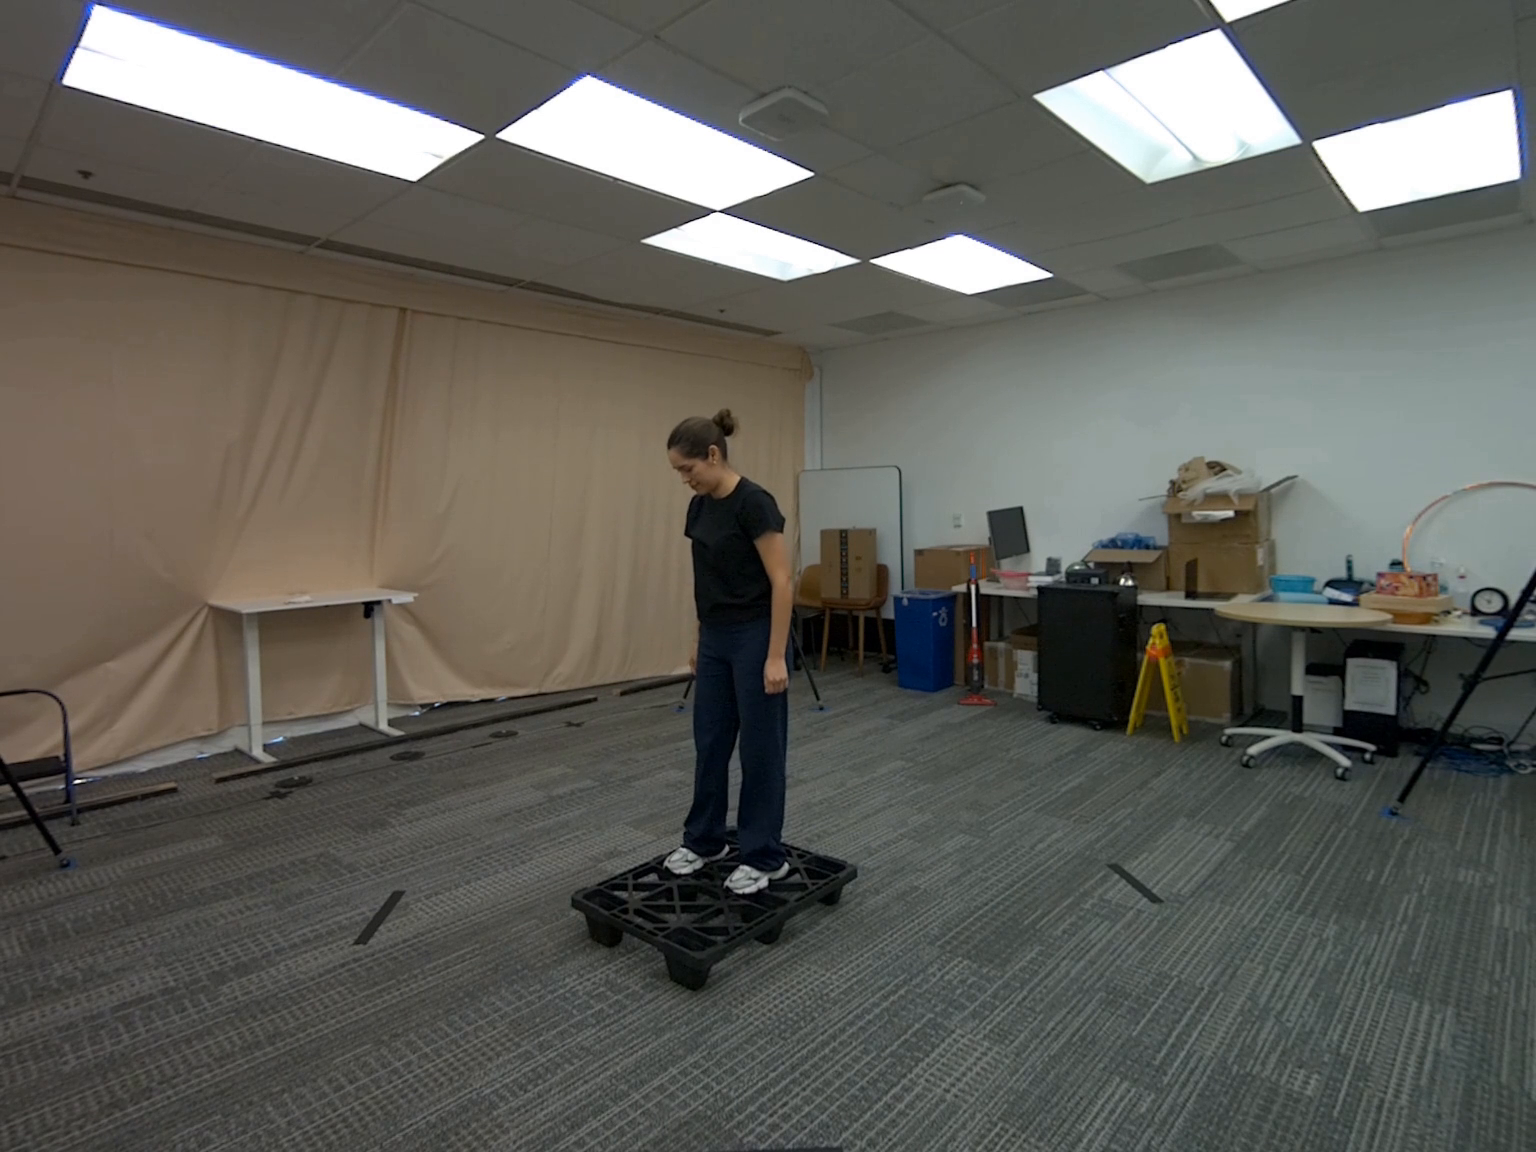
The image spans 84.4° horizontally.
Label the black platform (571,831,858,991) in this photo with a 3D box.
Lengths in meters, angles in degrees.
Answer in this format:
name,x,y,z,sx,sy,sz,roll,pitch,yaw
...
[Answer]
name,x,y,z,sx,sy,sz,roll,pitch,yaw
black platform,-0.156,1.085,2.836,0.625,0.143,0.781,3,6,41
